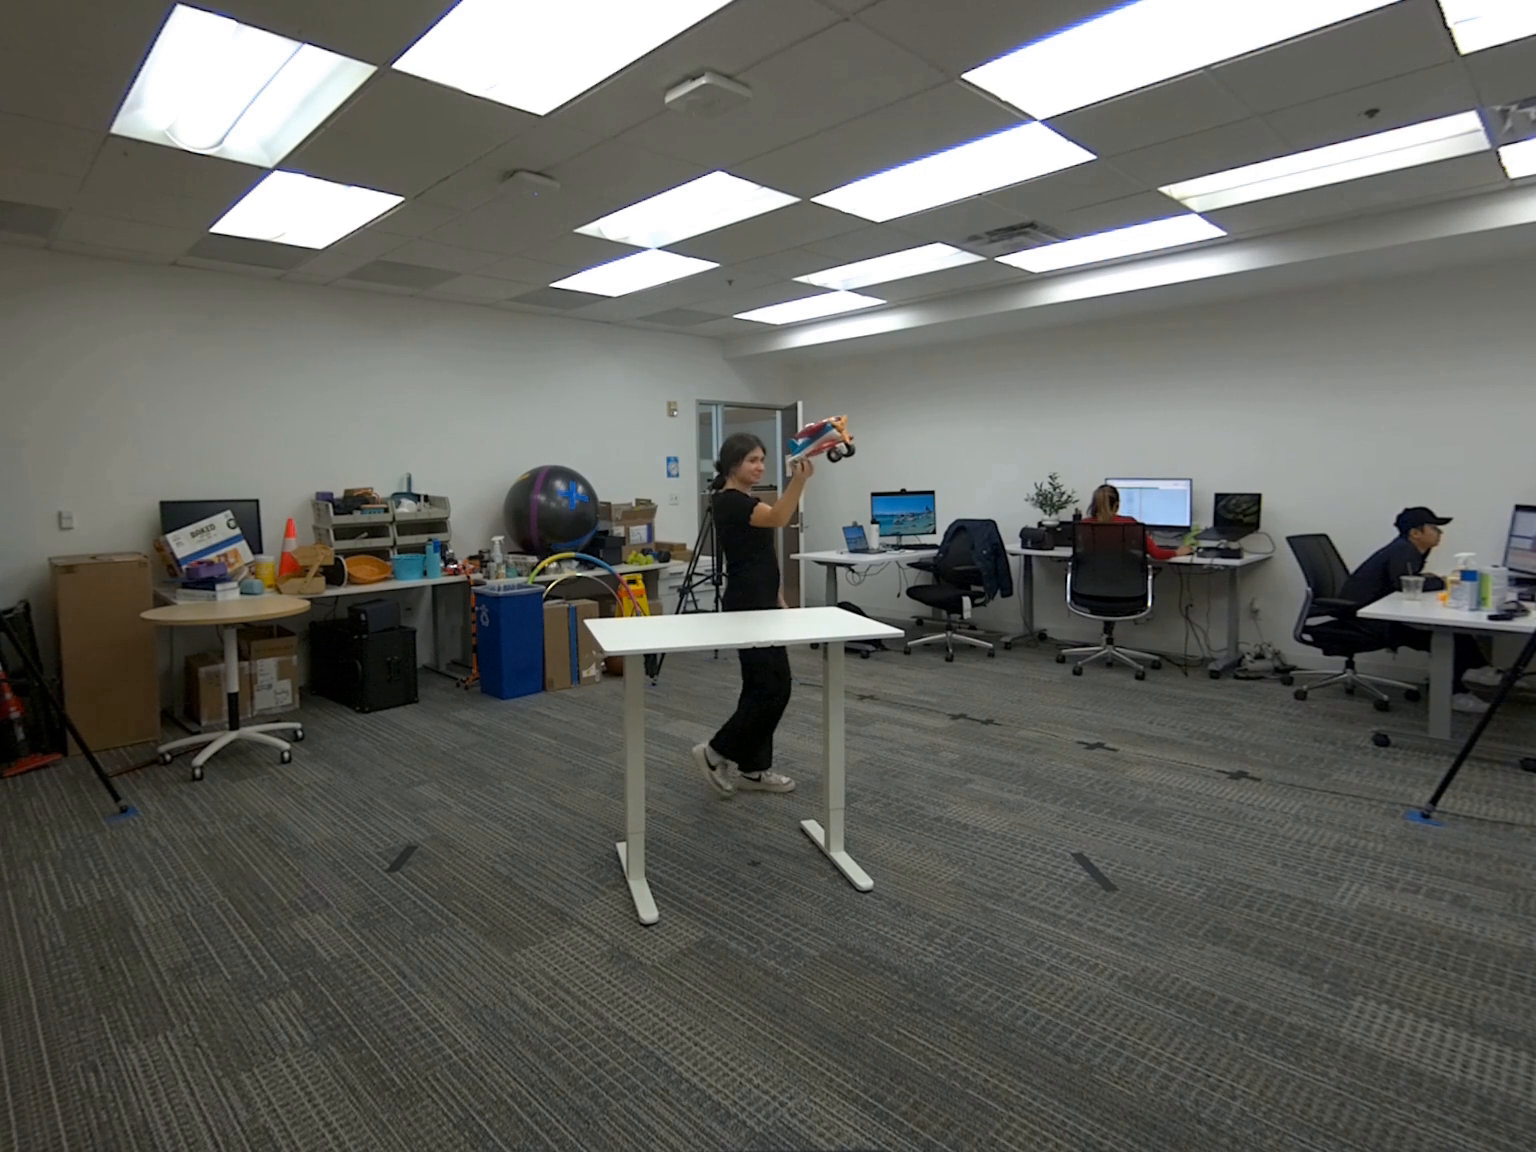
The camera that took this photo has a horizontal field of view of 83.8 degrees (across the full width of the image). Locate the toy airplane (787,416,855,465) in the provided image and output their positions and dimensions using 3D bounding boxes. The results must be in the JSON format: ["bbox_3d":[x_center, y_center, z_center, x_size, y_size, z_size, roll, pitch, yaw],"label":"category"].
[{"bbox_3d":[0.177,-0.475,3.105,0.262,0.155,0.250,-15,7,15],"label":"toy airplane"}]
